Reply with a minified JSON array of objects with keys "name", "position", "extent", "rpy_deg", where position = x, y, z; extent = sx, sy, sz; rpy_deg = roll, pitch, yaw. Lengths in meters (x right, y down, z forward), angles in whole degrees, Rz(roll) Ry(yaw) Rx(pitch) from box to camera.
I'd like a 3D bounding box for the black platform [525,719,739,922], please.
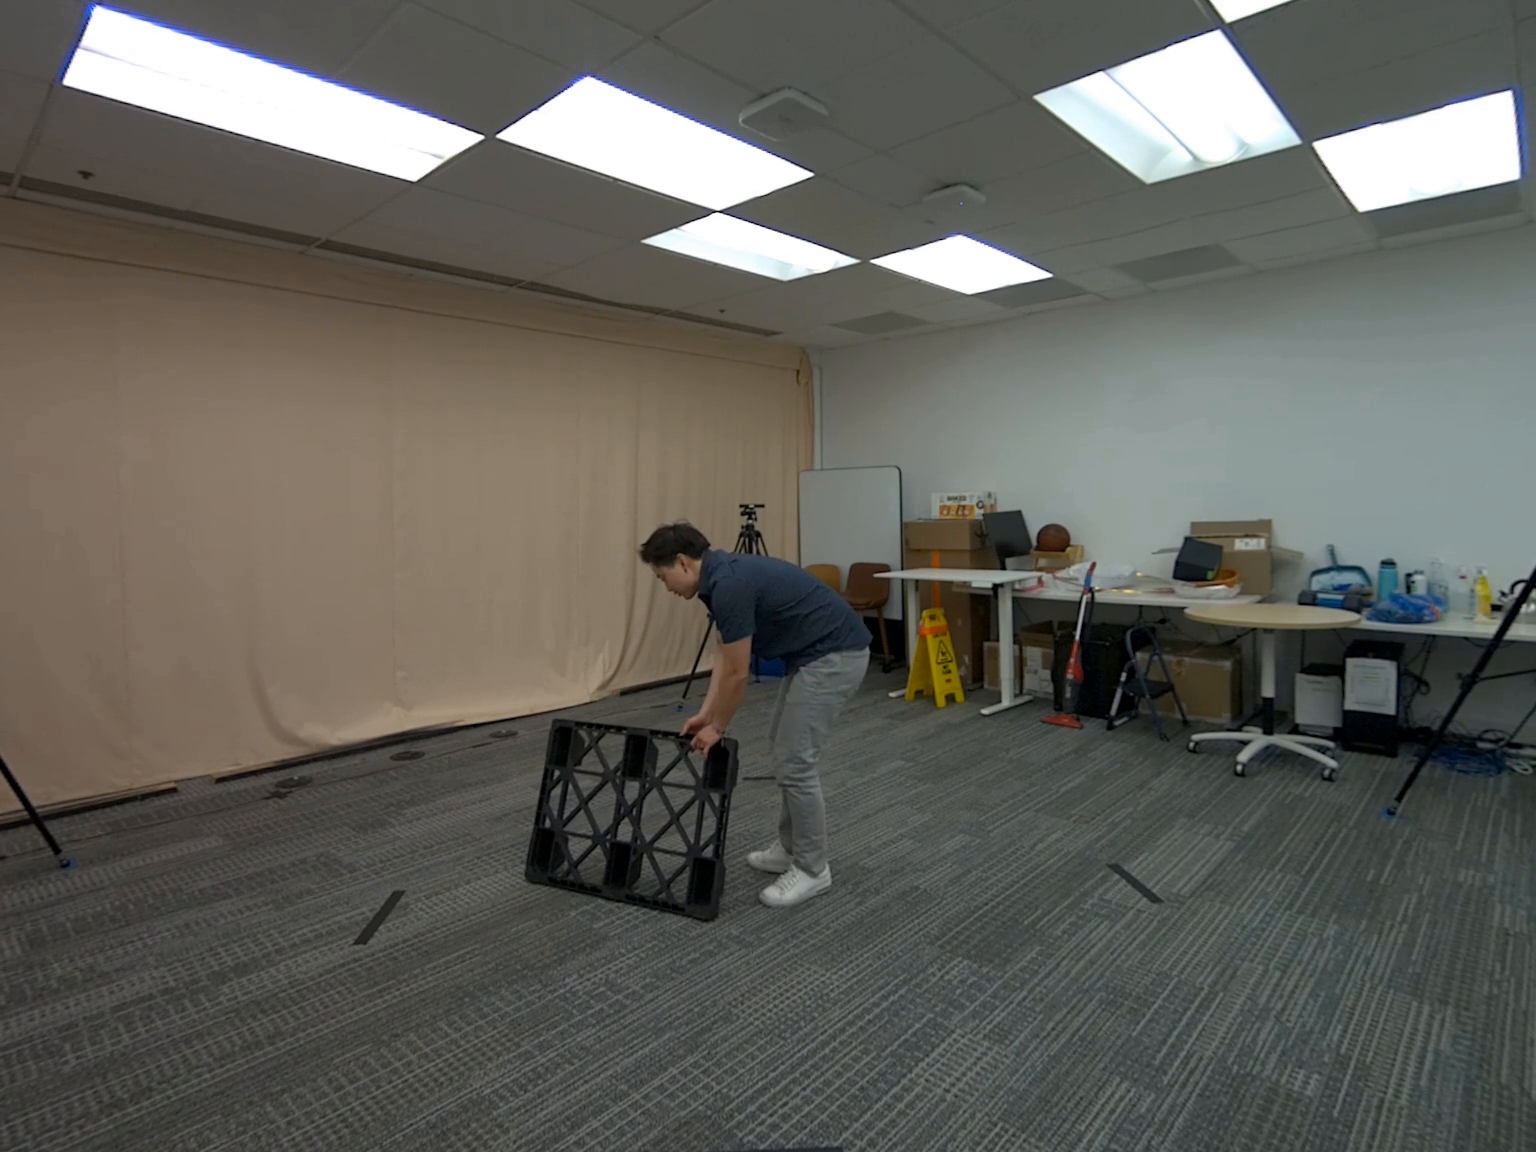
[{"name":"black platform","position":[-0.494,0.865,3.105],"extent":[0.826,0.609,0.139],"rpy_deg":[2,-16,25]}]
